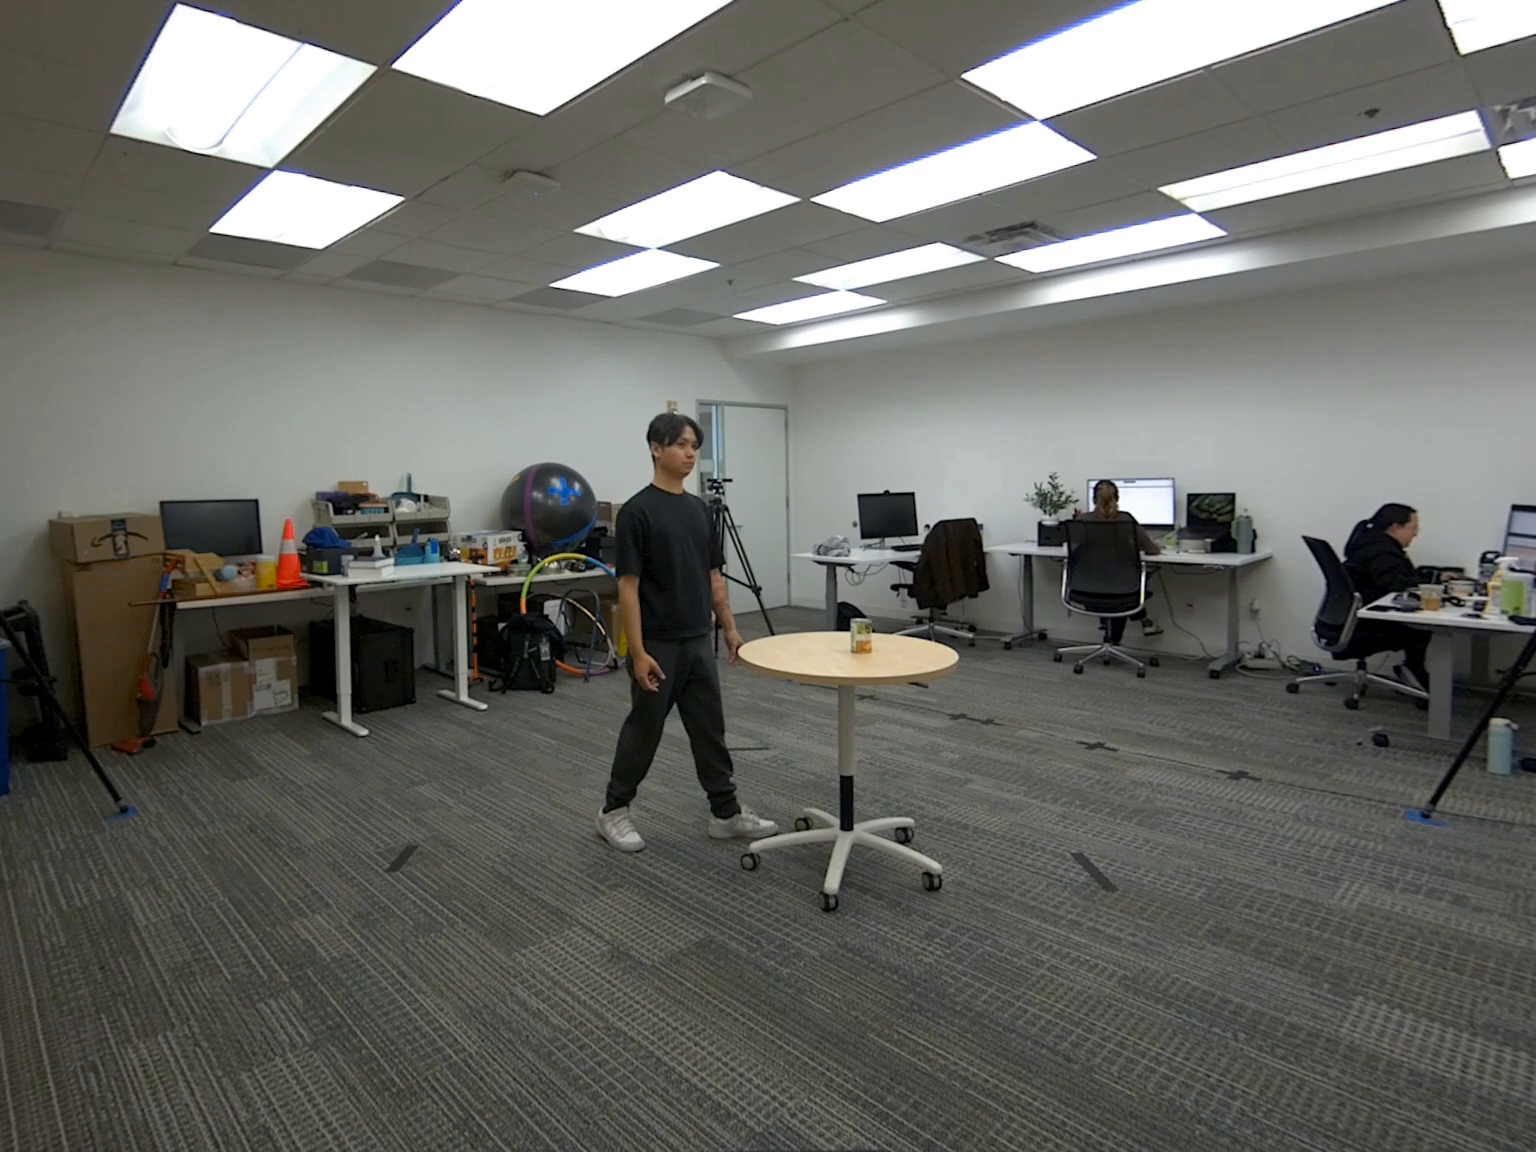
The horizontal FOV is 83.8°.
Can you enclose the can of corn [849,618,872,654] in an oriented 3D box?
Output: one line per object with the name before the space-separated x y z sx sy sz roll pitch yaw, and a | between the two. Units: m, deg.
can of corn | 0.330 0.212 3.004 0.074 0.110 0.075 0 7 -2
